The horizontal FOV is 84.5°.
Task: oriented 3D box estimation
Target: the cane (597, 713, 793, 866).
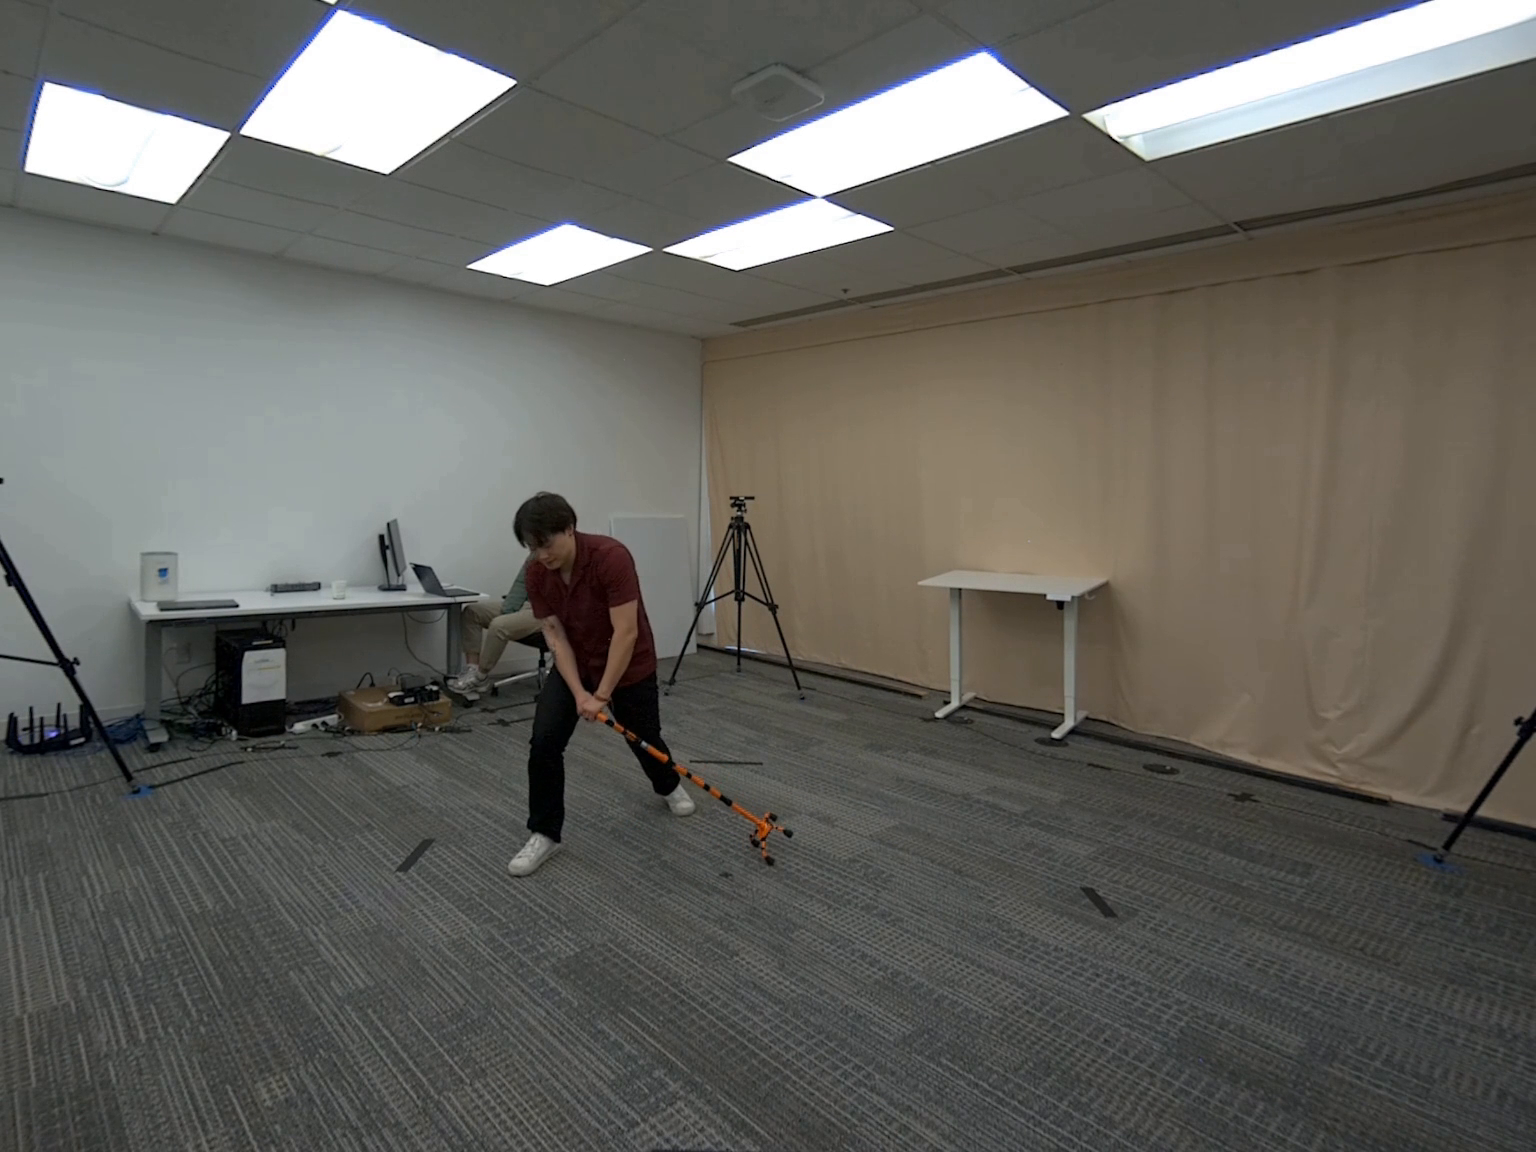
[{"bbox_3d":[-0.321,0.766,3.188,0.893,0.152,0.209,37,-9,-15],"label":"cane"}]
